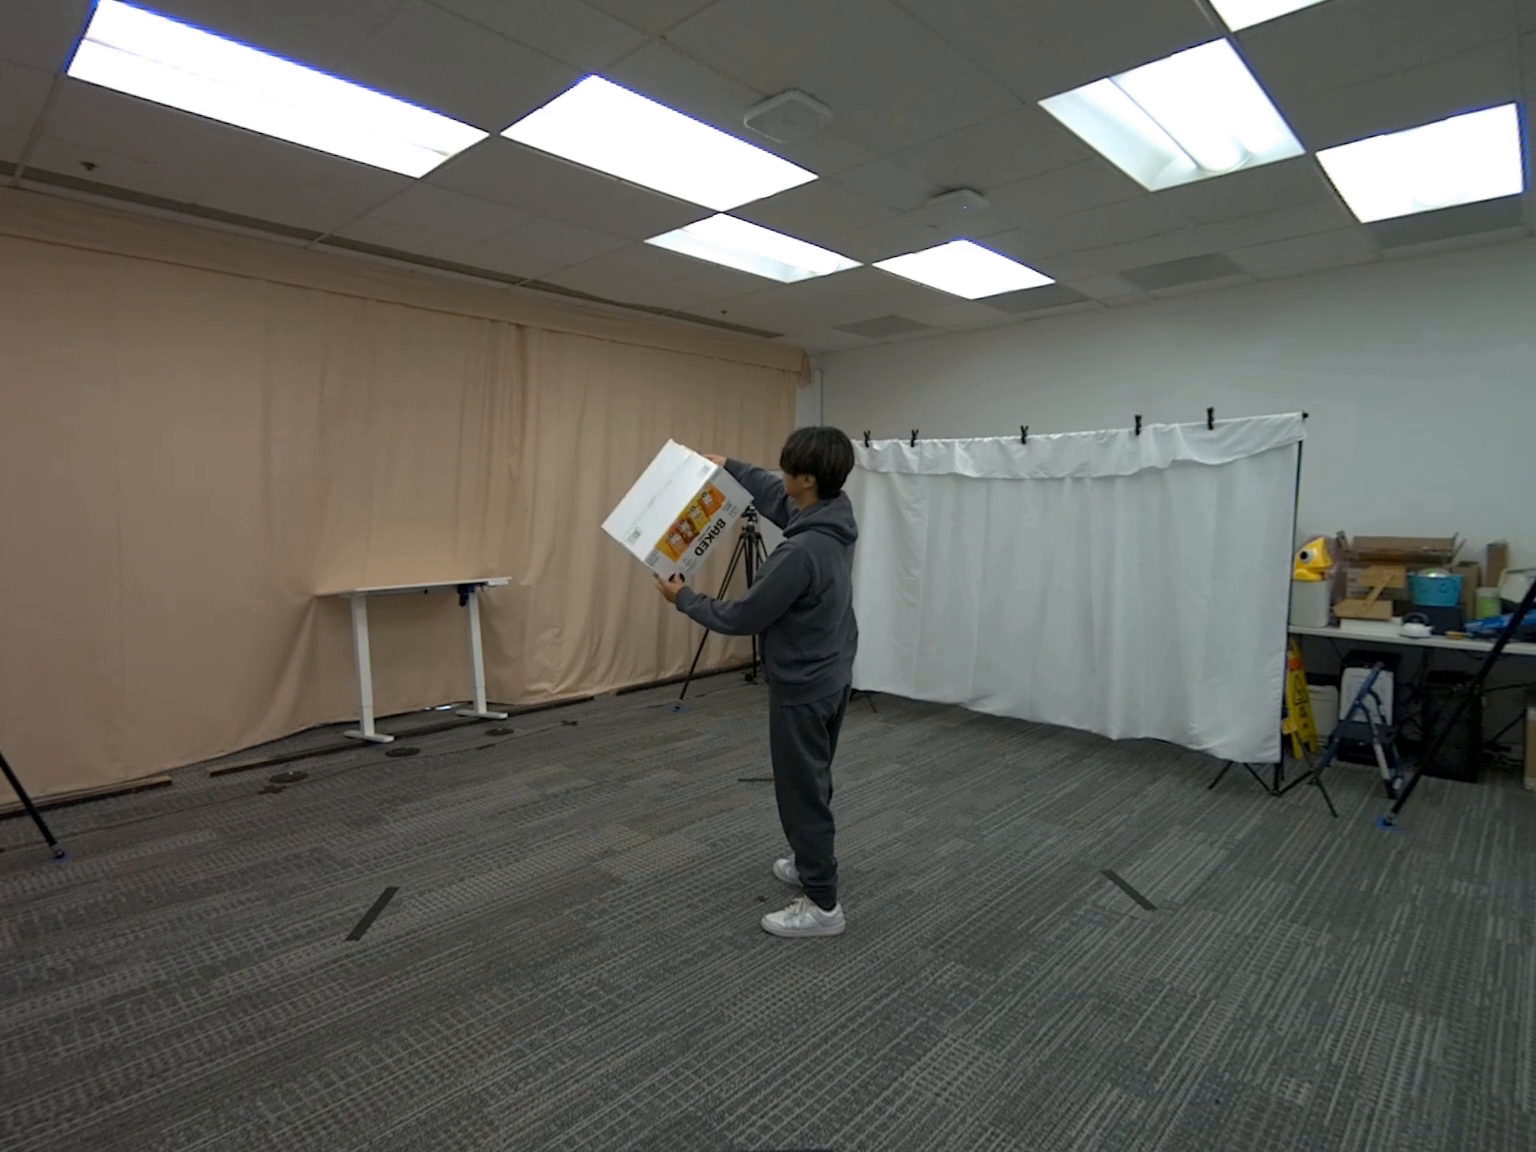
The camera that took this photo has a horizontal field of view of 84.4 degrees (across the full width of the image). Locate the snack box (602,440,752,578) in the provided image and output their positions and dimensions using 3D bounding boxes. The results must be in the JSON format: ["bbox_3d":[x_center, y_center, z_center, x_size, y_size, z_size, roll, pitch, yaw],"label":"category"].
[{"bbox_3d":[-0.322,-0.217,2.924,0.198,0.405,0.353,40,-4,-40],"label":"snack box"}]
